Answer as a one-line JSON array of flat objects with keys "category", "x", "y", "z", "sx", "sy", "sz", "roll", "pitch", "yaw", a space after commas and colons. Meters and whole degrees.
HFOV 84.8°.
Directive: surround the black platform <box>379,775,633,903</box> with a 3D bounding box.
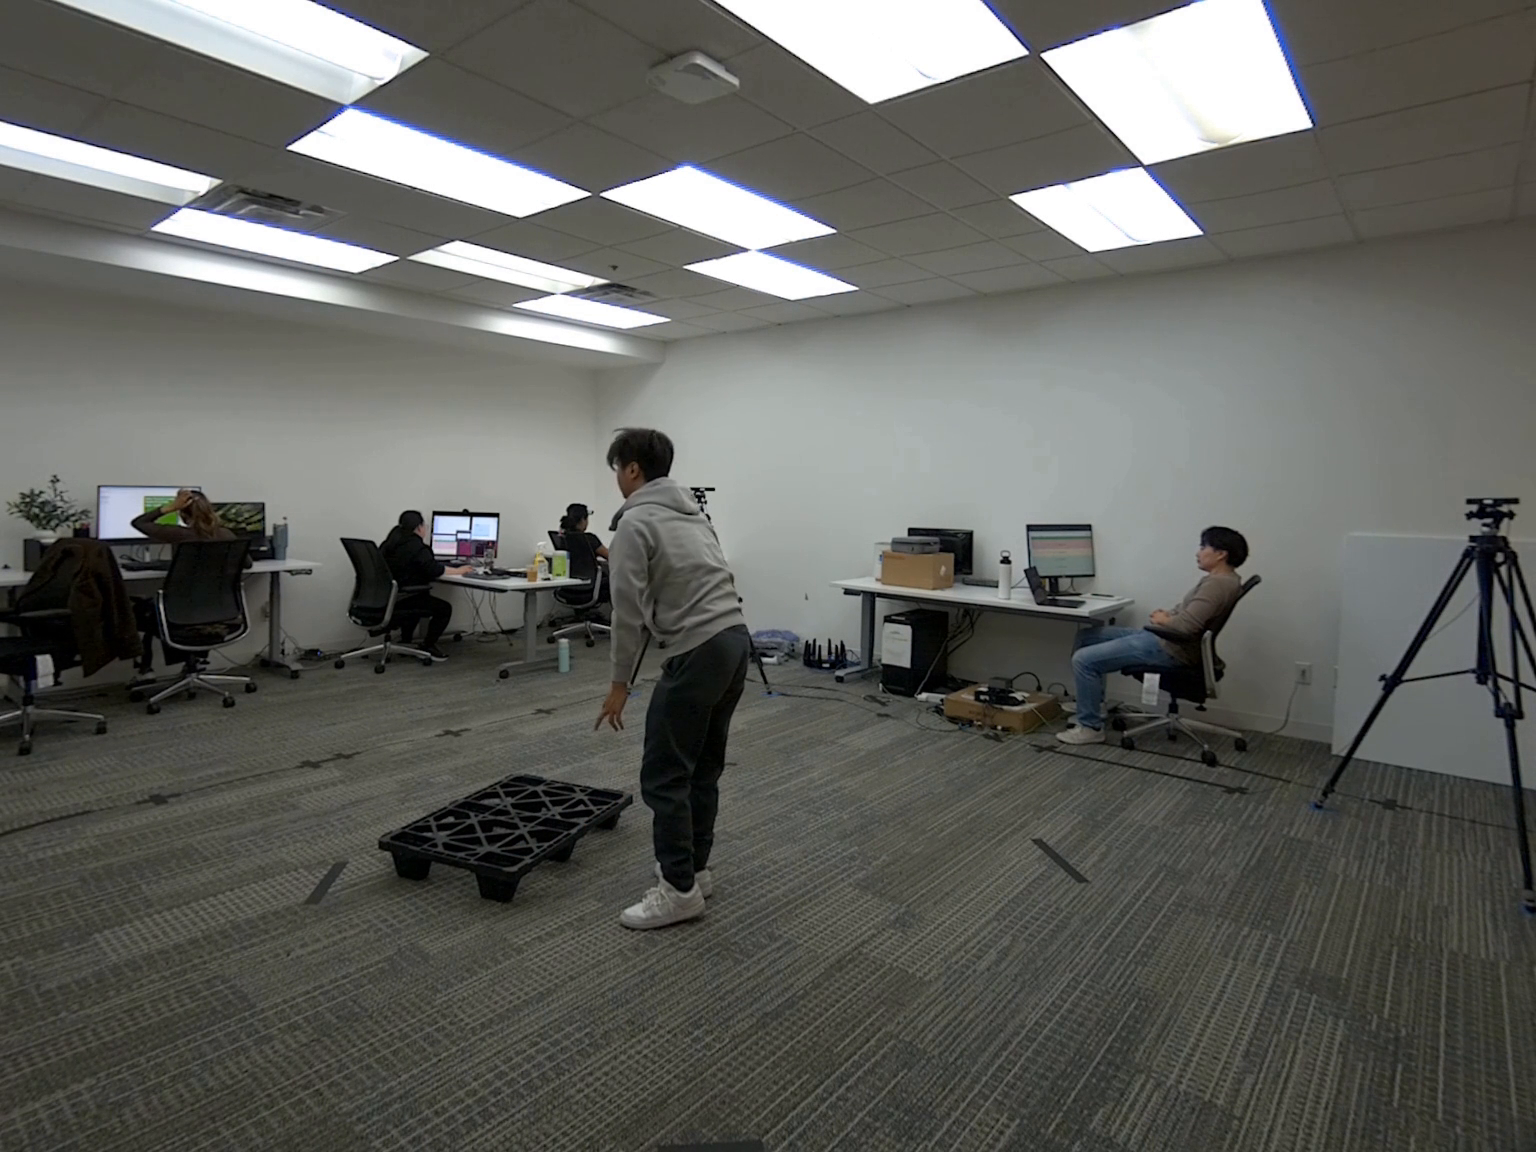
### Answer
[{"category": "black platform", "x": -0.981, "y": 0.973, "z": 3.242, "sx": 0.619, "sy": 0.143, "sz": 0.790, "roll": 2, "pitch": 5, "yaw": 22}]
